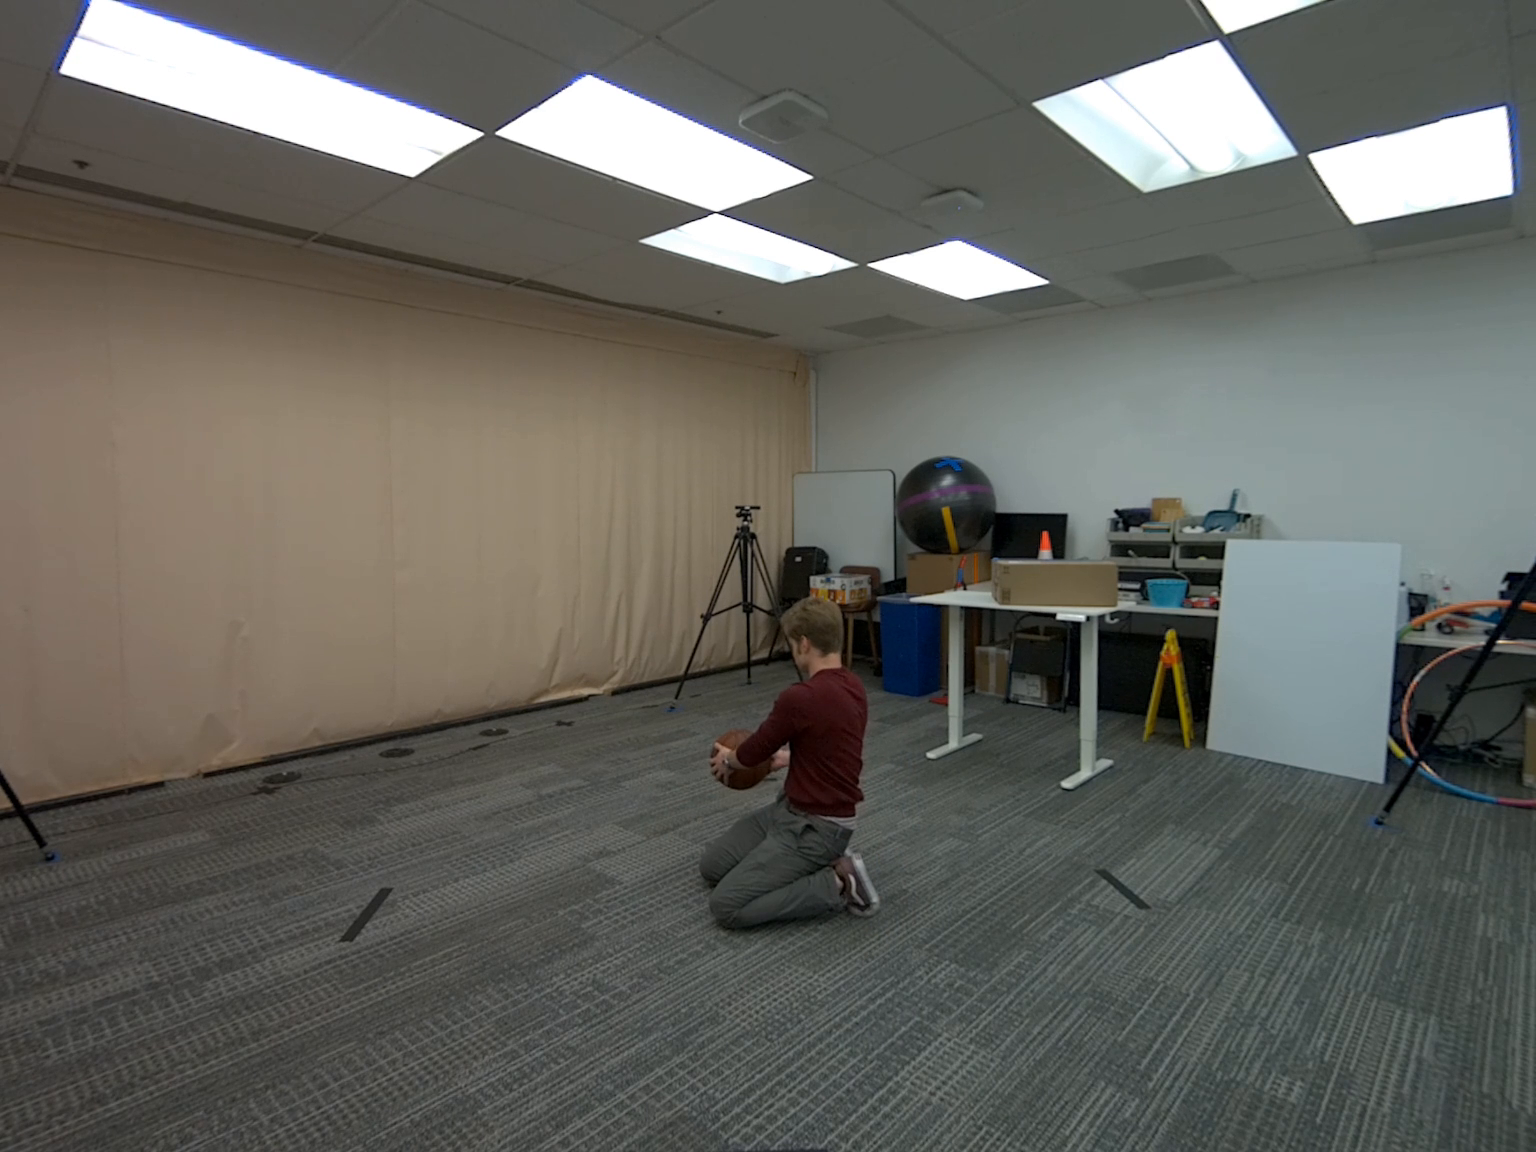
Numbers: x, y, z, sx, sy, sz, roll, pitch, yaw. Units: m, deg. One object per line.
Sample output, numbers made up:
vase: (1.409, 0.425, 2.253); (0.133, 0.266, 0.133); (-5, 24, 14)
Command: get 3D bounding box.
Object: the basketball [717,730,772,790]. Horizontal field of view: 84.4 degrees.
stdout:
basketball: (-0.113, 0.738, 3.386); (0.236, 0.235, 0.237); (0, 4, -2)
